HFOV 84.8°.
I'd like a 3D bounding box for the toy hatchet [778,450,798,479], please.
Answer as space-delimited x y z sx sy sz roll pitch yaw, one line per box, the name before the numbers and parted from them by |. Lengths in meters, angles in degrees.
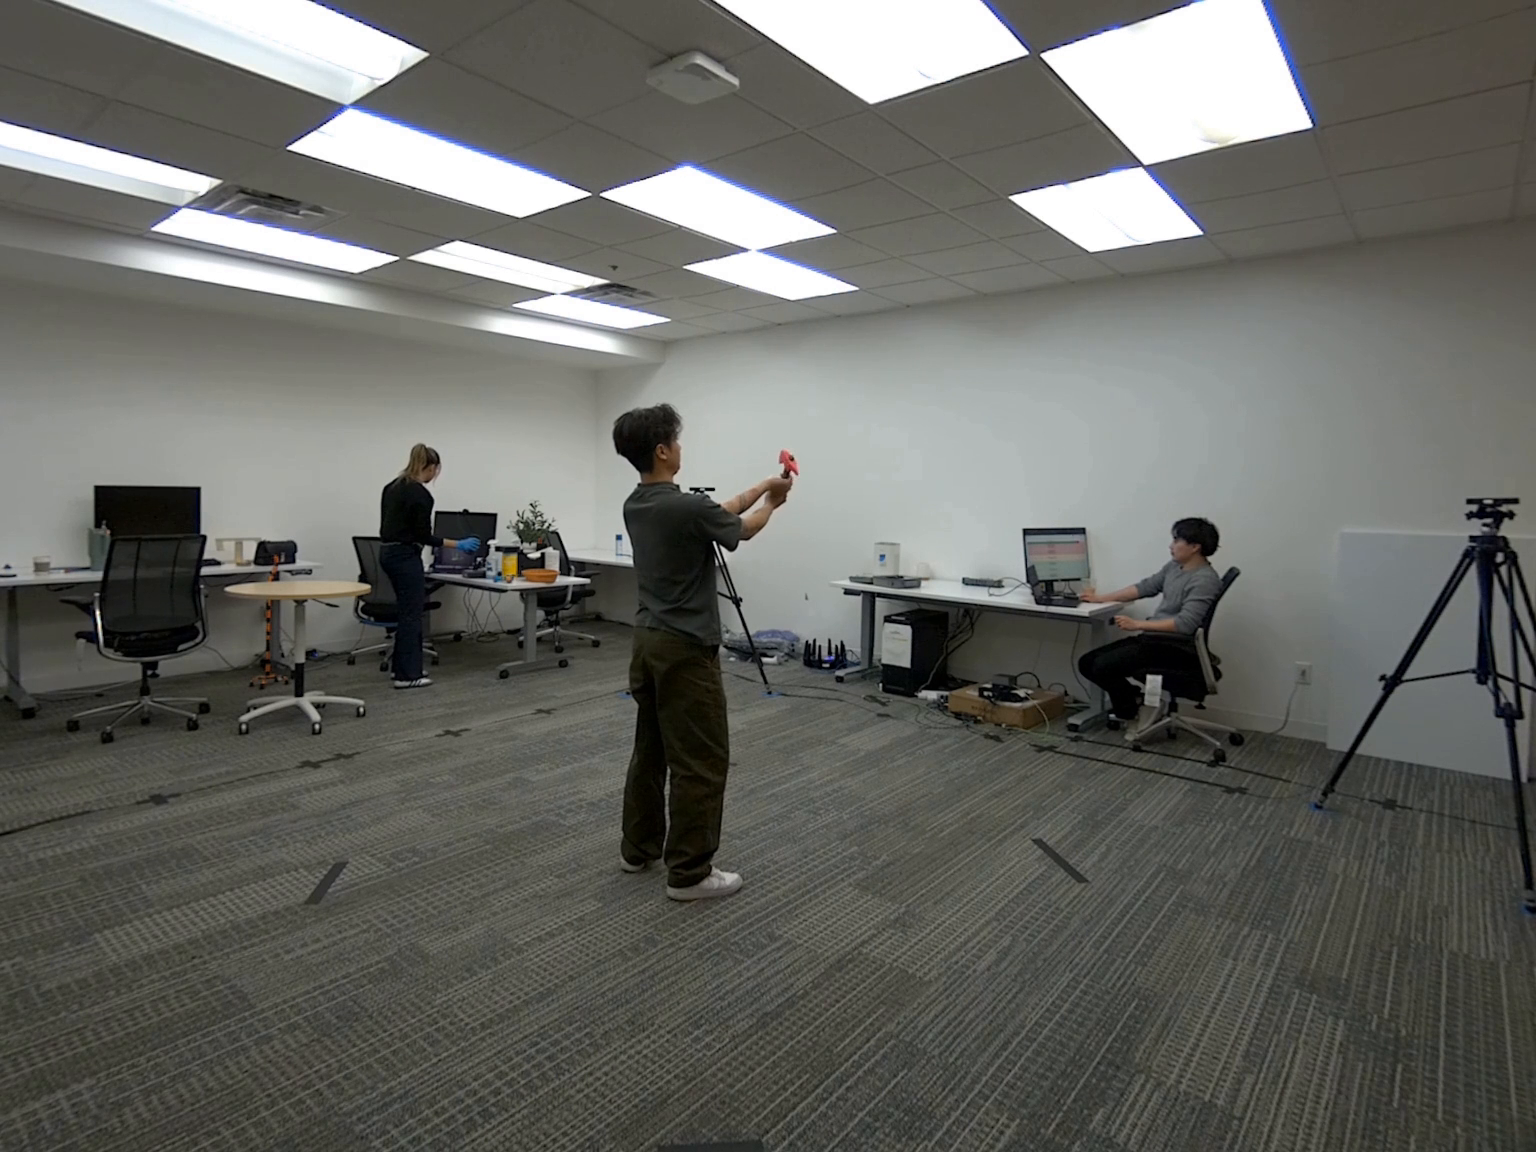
toy hatchet | 0.026 -0.396 3.268 0.029 0.133 0.271 -11 -16 -29
